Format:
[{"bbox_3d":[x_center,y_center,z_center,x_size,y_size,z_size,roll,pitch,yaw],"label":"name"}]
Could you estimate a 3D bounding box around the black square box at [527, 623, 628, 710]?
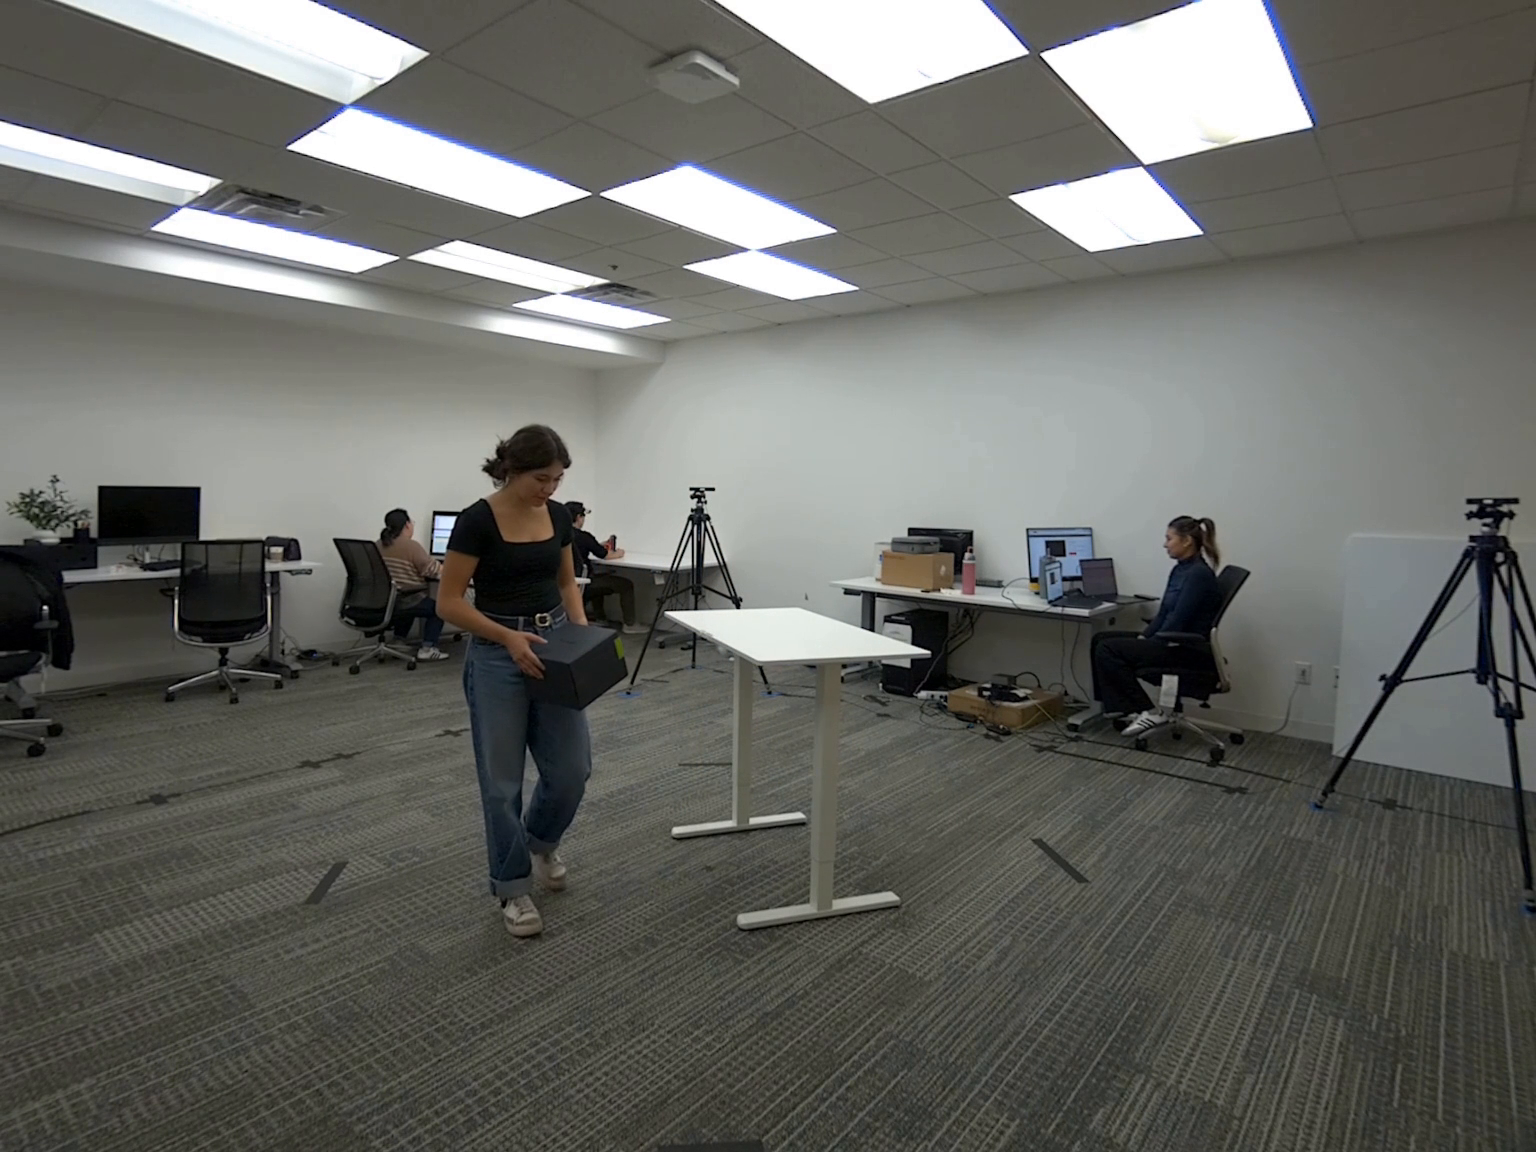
[{"bbox_3d":[-0.597,0.261,2.557,0.235,0.153,0.214,4,21,34],"label":"black square box"}]
